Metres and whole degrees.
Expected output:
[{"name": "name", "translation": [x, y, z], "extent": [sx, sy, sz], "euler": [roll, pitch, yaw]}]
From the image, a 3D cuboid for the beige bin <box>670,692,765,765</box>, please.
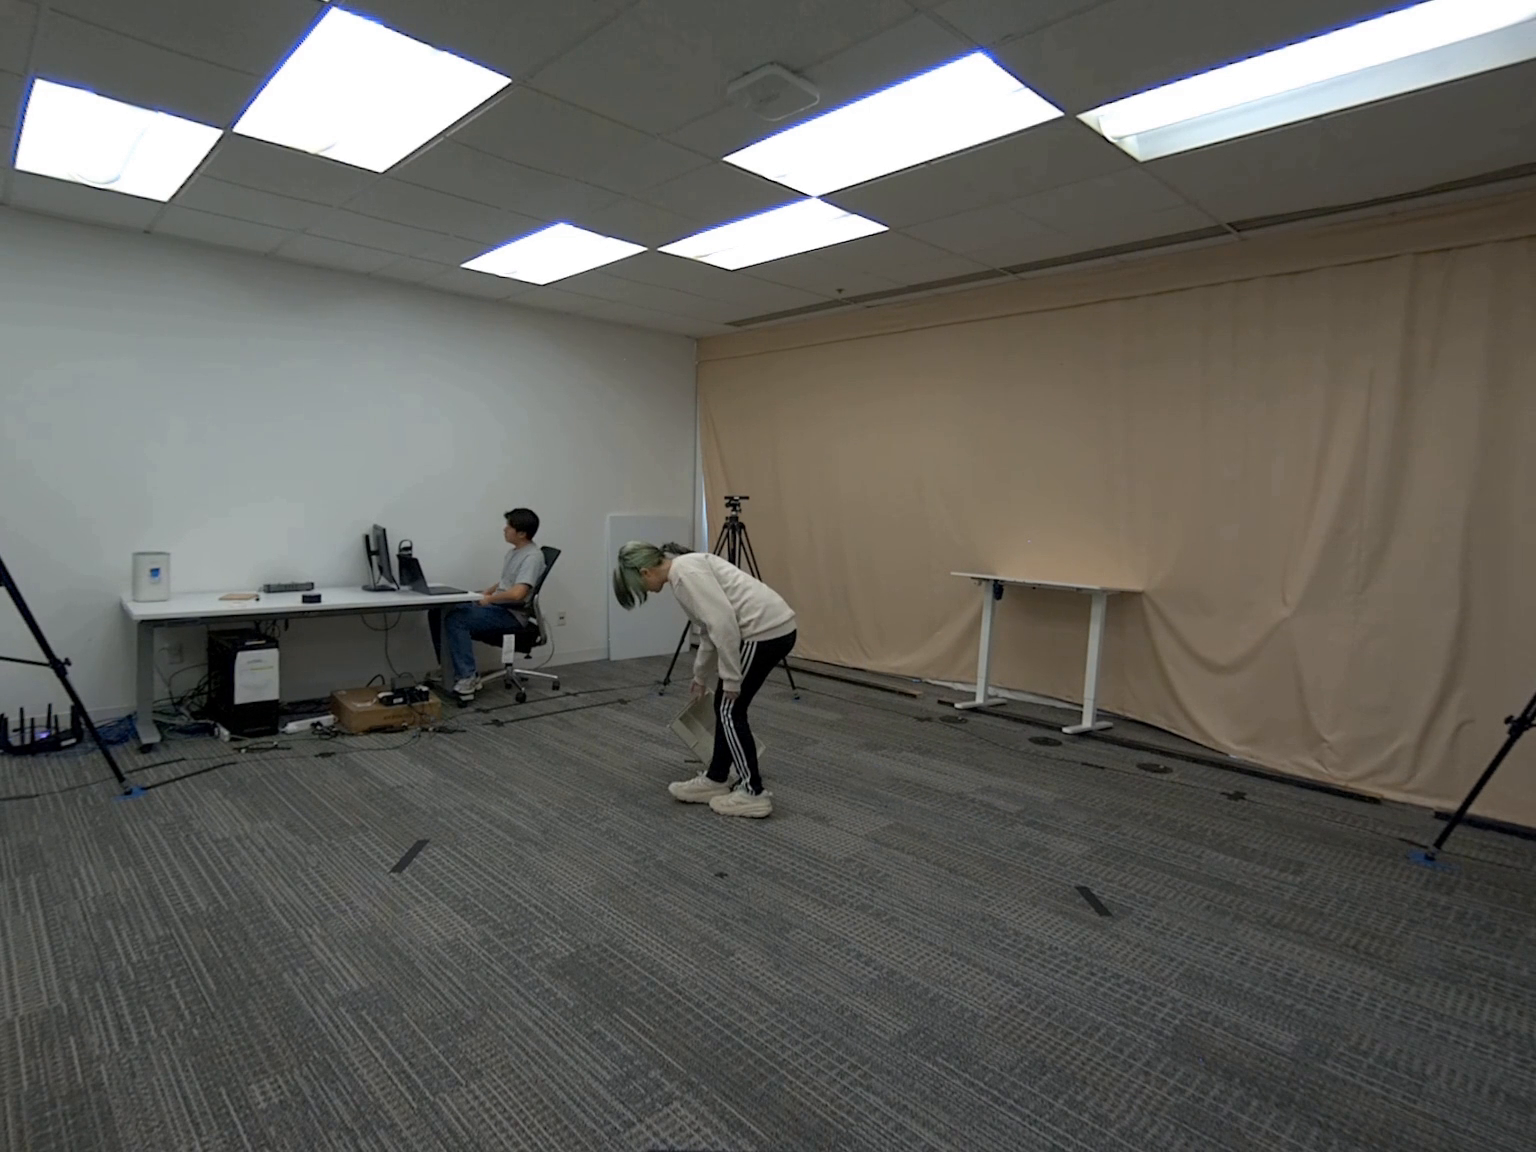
[{"name": "beige bin", "translation": [-0.268, 0.805, 4.181], "extent": [0.426, 0.189, 0.374], "euler": [44, 11, 7]}]
